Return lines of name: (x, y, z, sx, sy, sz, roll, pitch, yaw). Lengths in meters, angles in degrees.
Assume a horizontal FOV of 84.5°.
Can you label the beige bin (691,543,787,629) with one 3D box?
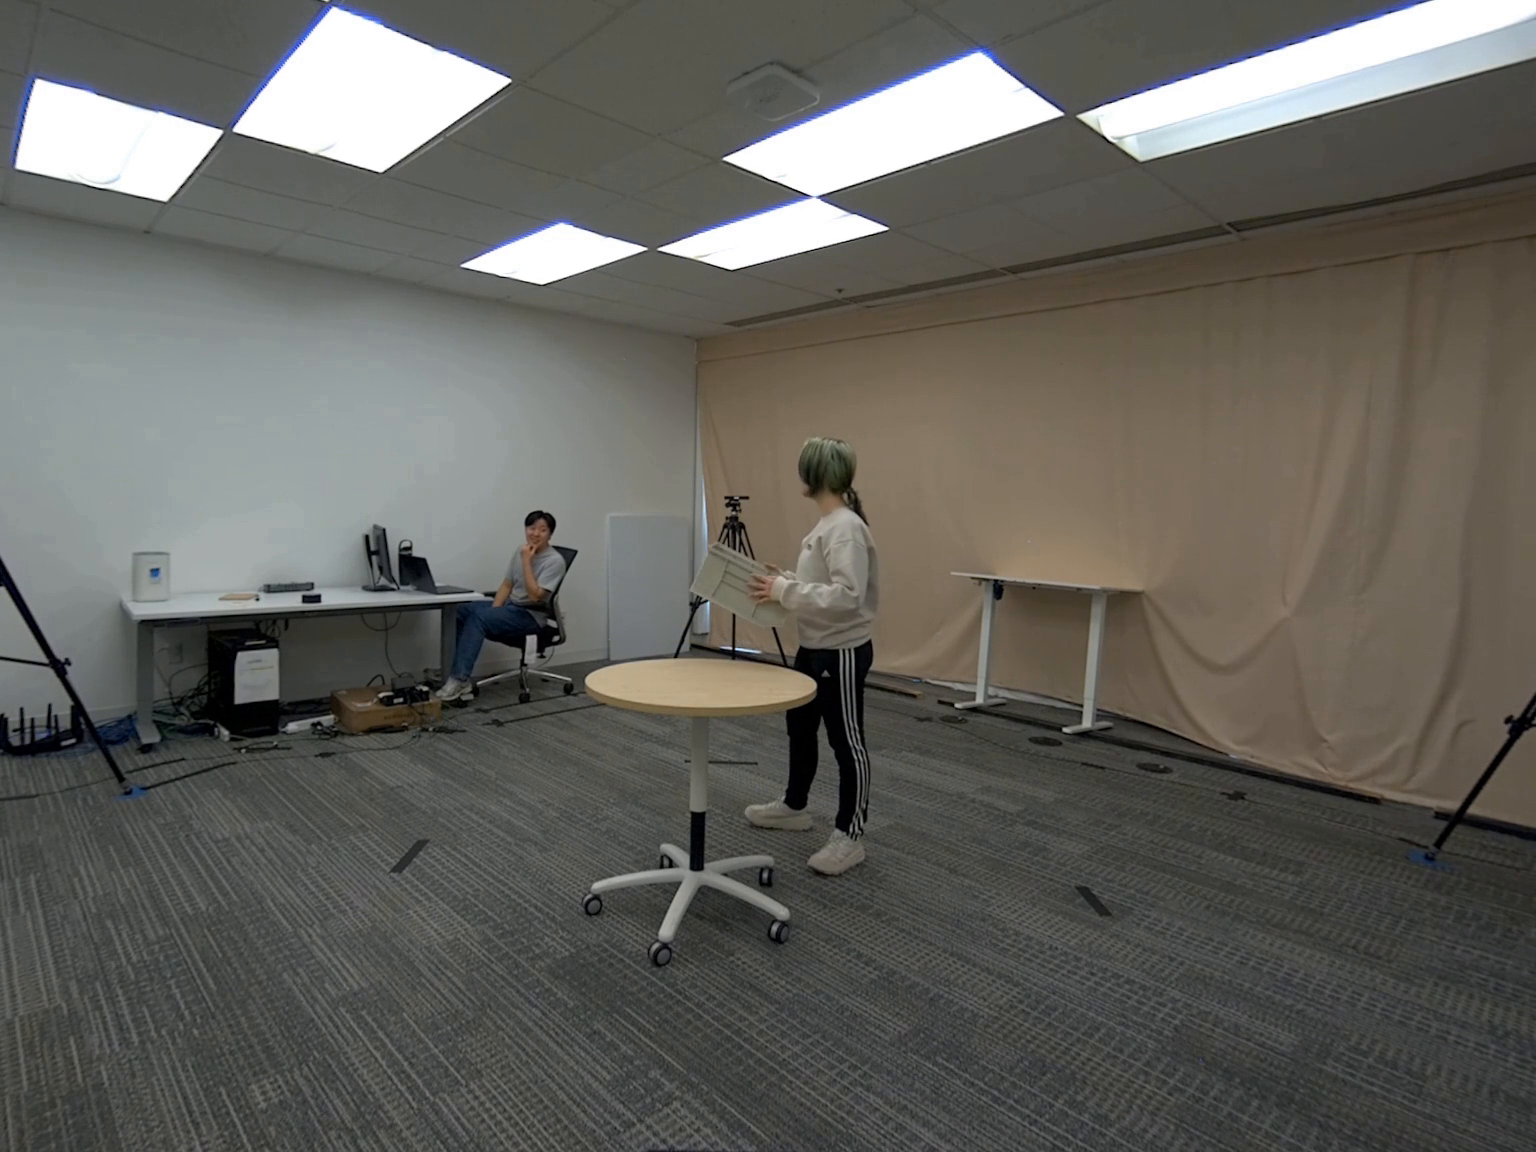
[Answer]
beige bin: (-0.098, 0.042, 3.294, 0.377, 0.189, 0.424, 25, 4, -3)
